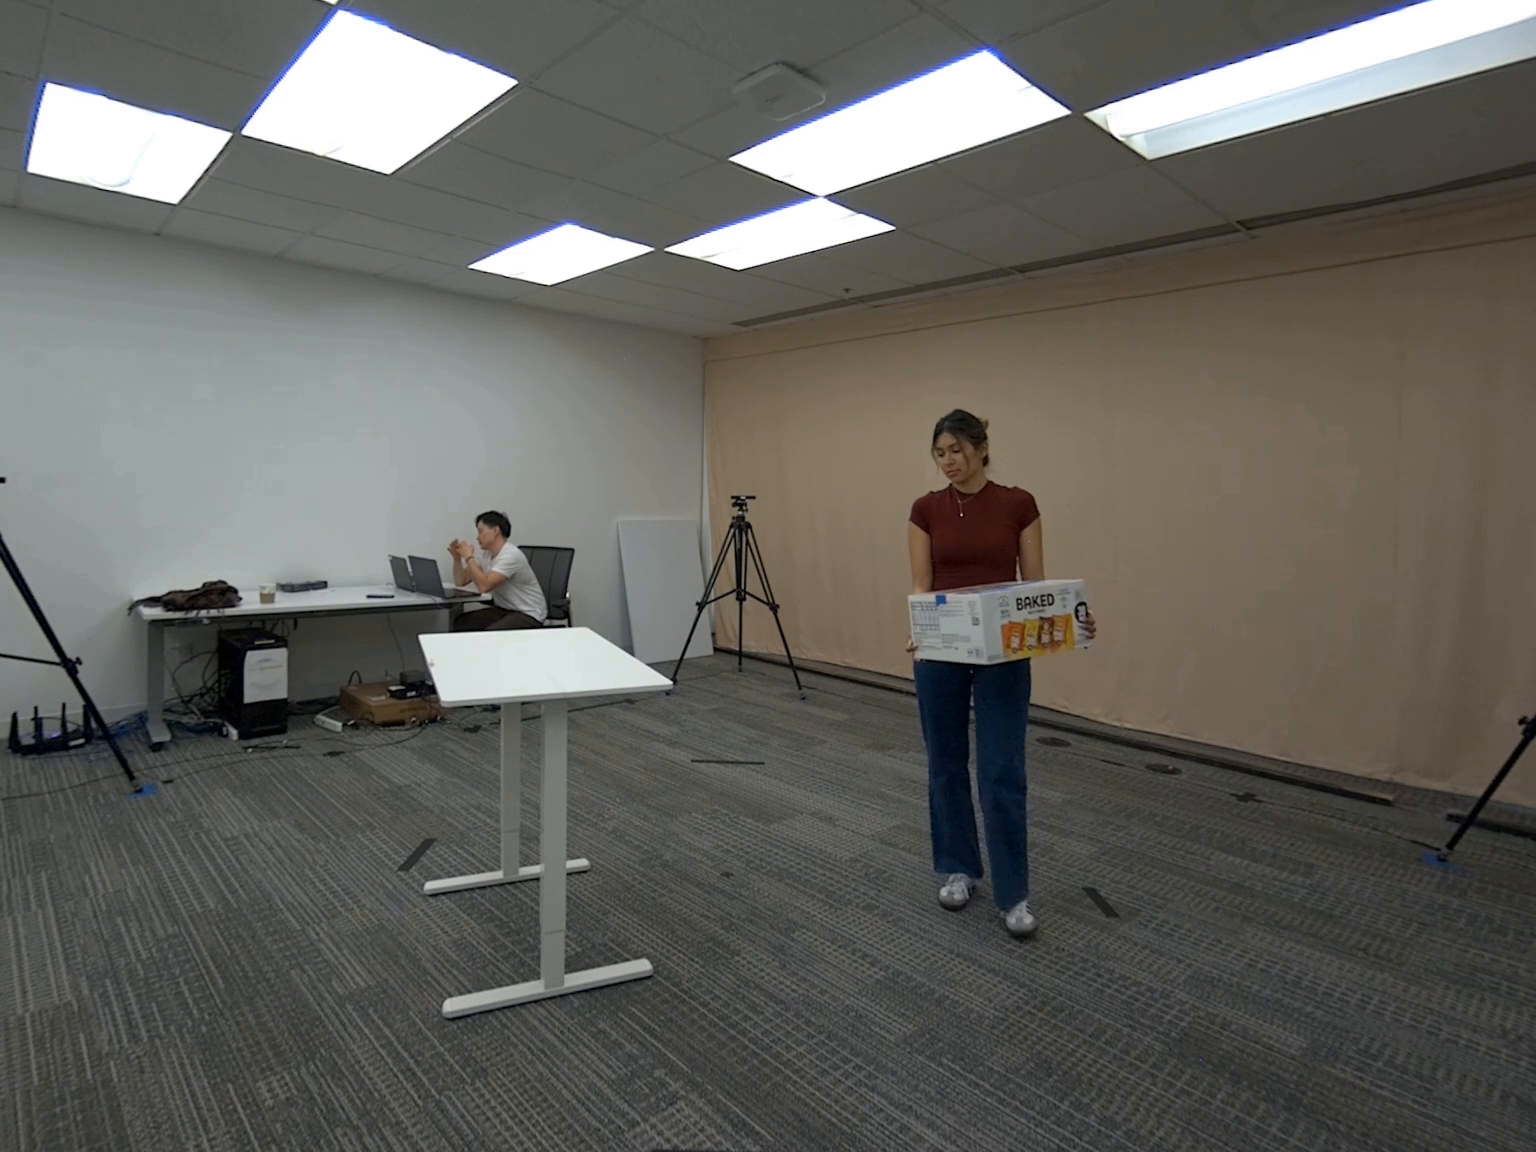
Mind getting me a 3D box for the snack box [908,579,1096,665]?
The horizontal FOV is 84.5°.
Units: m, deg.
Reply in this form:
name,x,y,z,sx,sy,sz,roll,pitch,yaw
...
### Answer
name,x,y,z,sx,sy,sz,roll,pitch,yaw
snack box,0.696,0.135,2.586,0.398,0.206,0.346,-6,0,-26
